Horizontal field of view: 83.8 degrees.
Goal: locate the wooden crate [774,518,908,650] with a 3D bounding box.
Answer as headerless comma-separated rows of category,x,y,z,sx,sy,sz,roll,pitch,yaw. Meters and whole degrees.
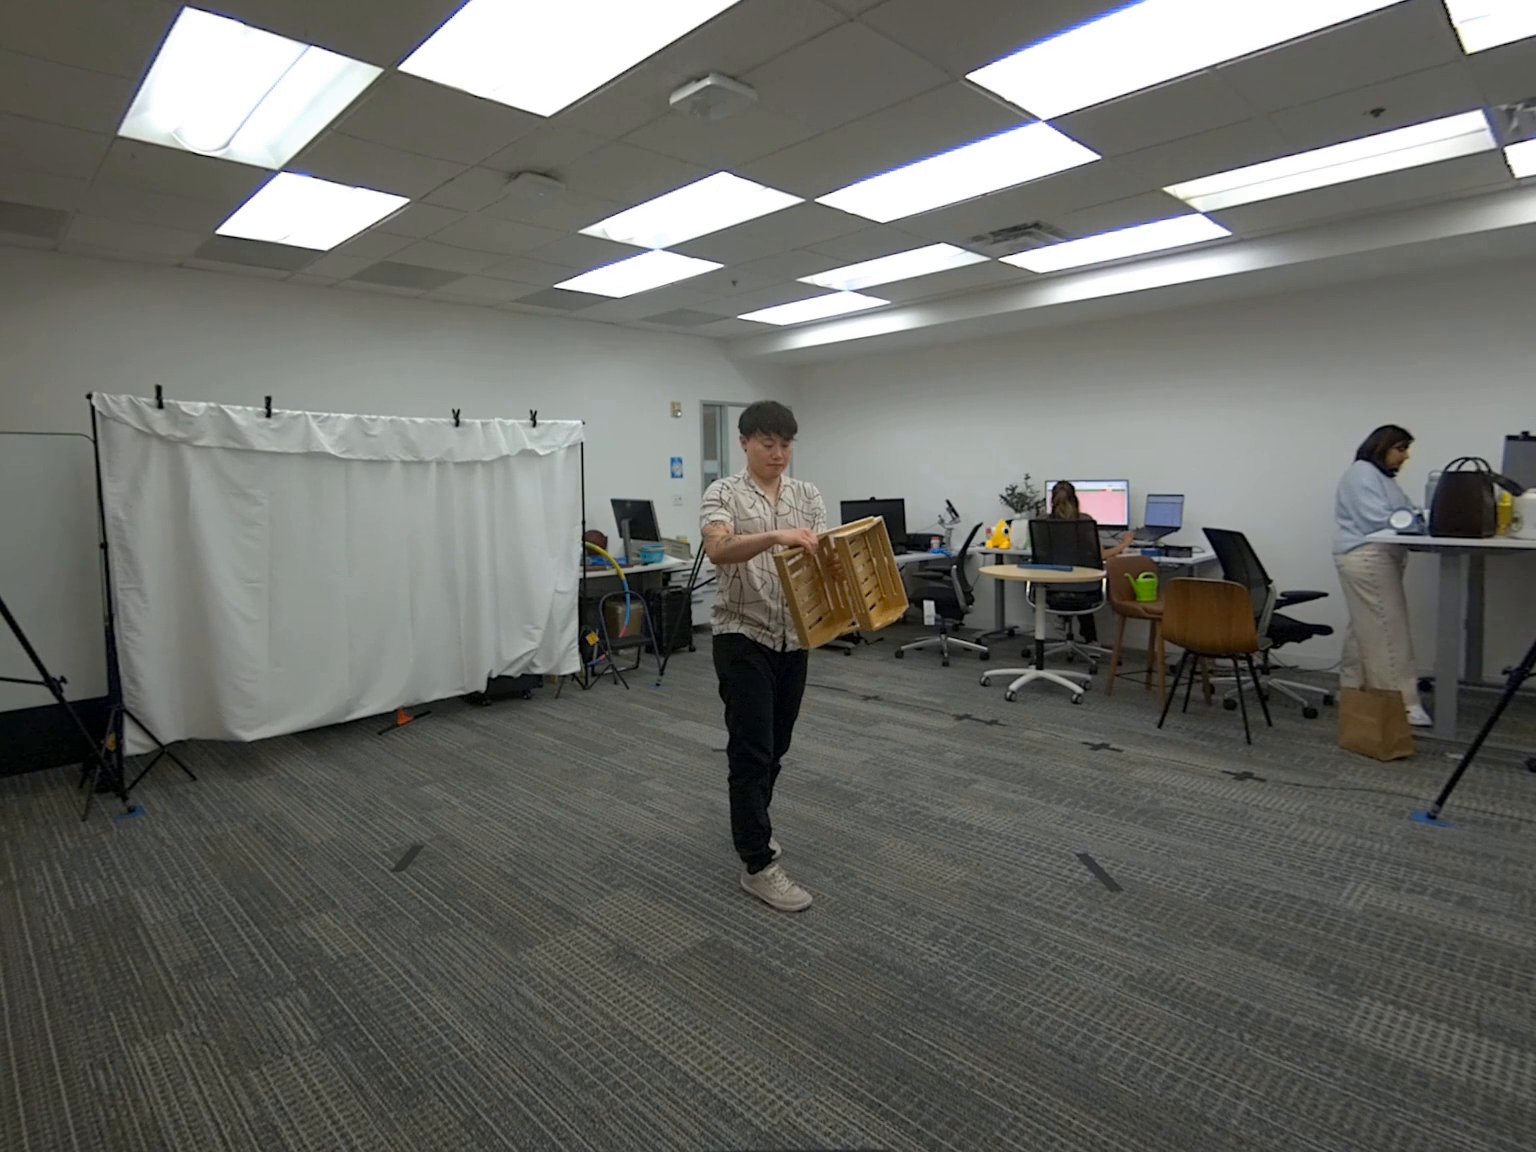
wooden crate,0.230,0.022,2.628,0.278,0.322,0.299,-14,9,32
